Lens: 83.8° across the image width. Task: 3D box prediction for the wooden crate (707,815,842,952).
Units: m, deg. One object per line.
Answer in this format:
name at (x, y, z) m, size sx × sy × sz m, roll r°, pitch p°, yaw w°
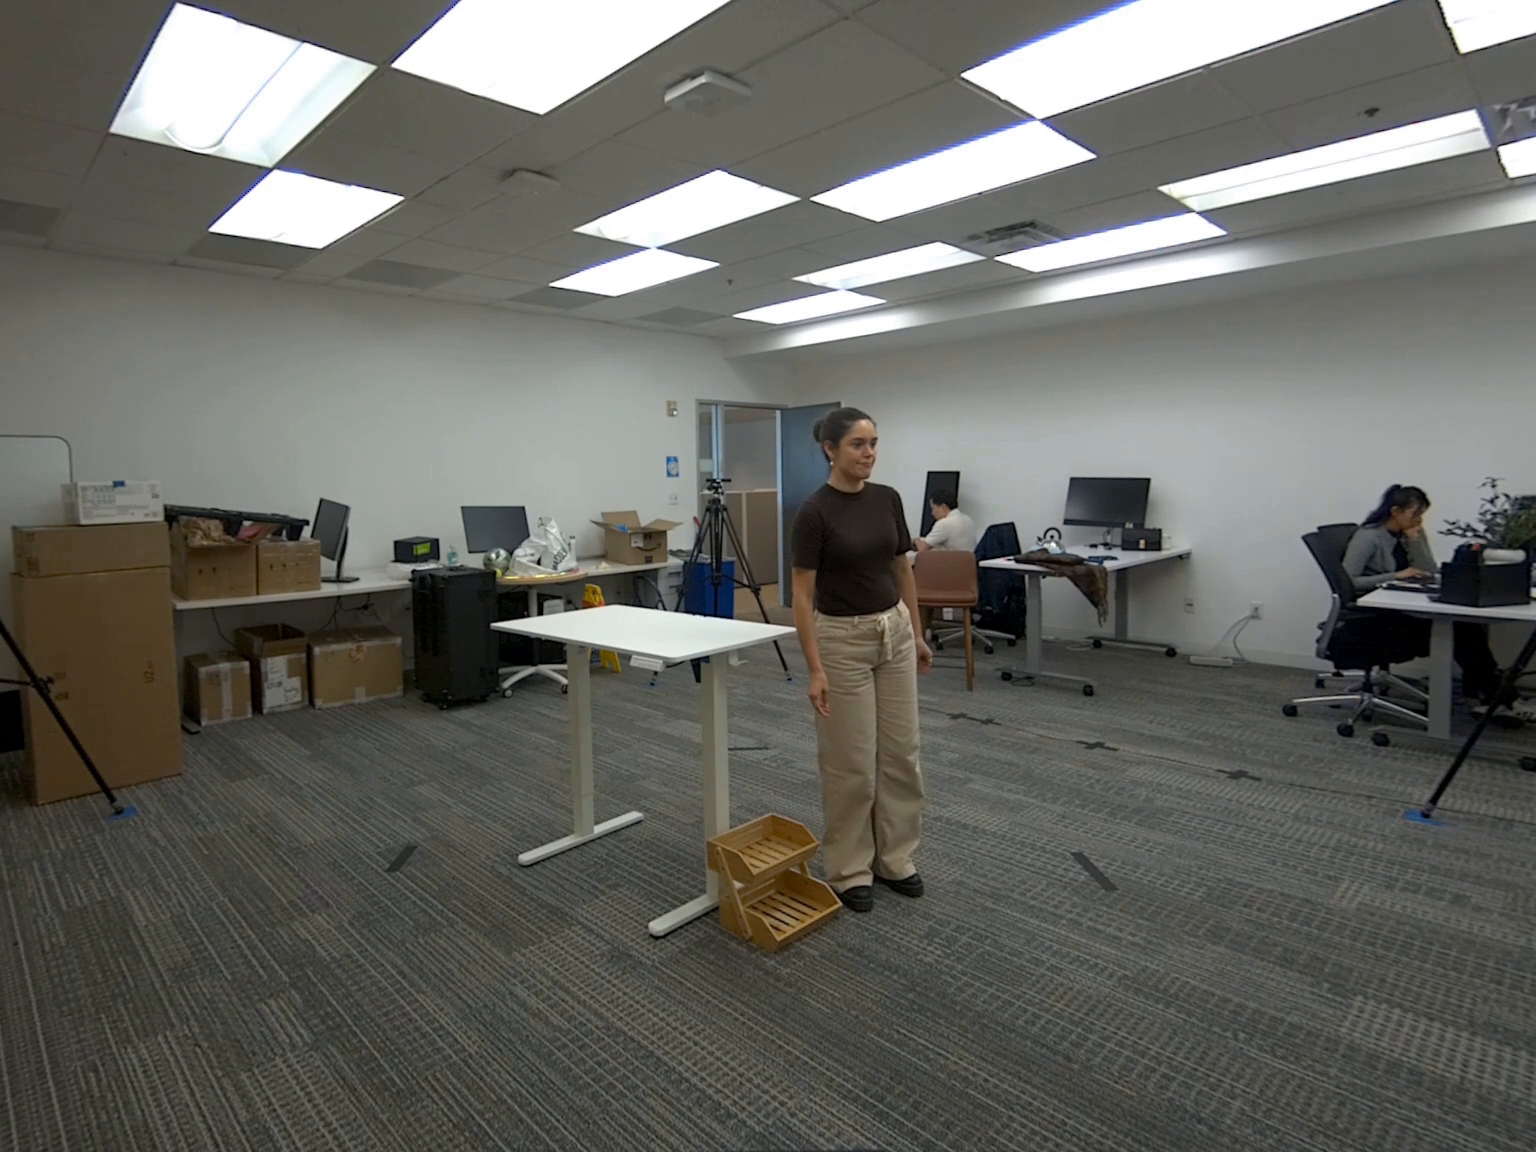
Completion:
wooden crate at (0.026, 0.956, 2.704) m, size 0.311 × 0.272 × 0.316 m, roll 4°, pitch 7°, yaw 44°
